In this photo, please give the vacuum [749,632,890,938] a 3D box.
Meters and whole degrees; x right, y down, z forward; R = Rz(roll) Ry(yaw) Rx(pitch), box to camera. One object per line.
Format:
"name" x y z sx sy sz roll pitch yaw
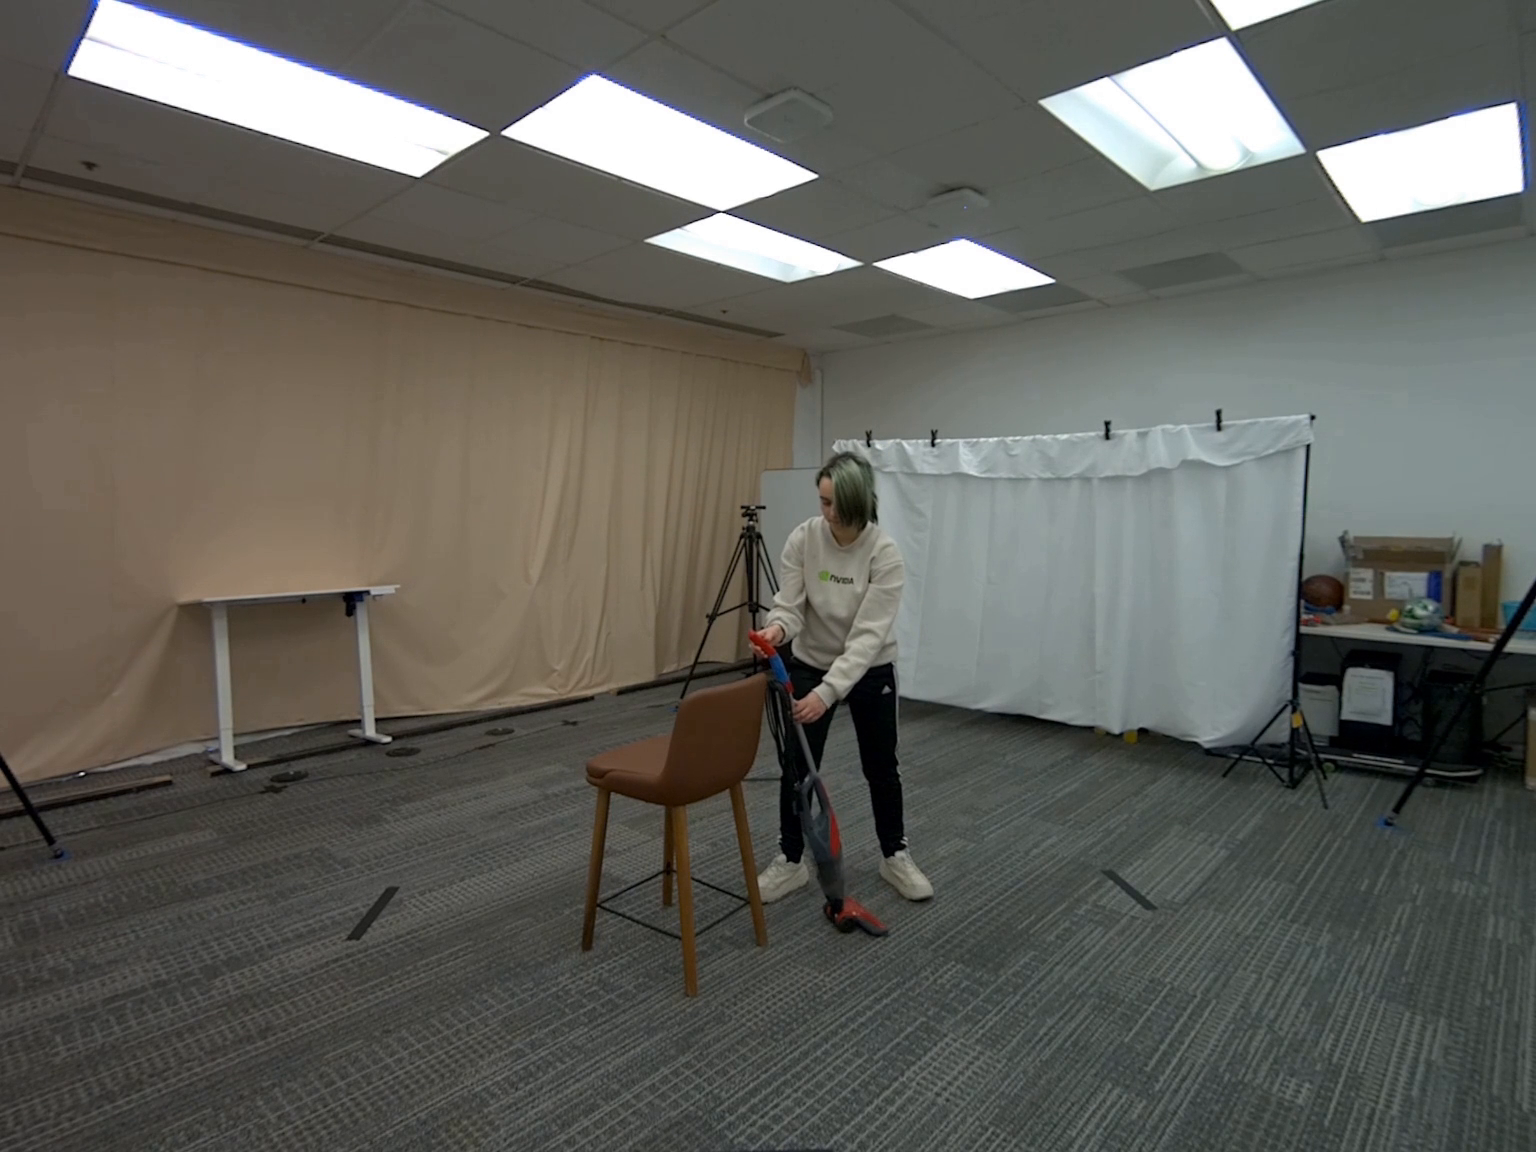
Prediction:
"vacuum" 0.127 0.673 2.727 0.141 1.039 0.259 -23 11 -25
